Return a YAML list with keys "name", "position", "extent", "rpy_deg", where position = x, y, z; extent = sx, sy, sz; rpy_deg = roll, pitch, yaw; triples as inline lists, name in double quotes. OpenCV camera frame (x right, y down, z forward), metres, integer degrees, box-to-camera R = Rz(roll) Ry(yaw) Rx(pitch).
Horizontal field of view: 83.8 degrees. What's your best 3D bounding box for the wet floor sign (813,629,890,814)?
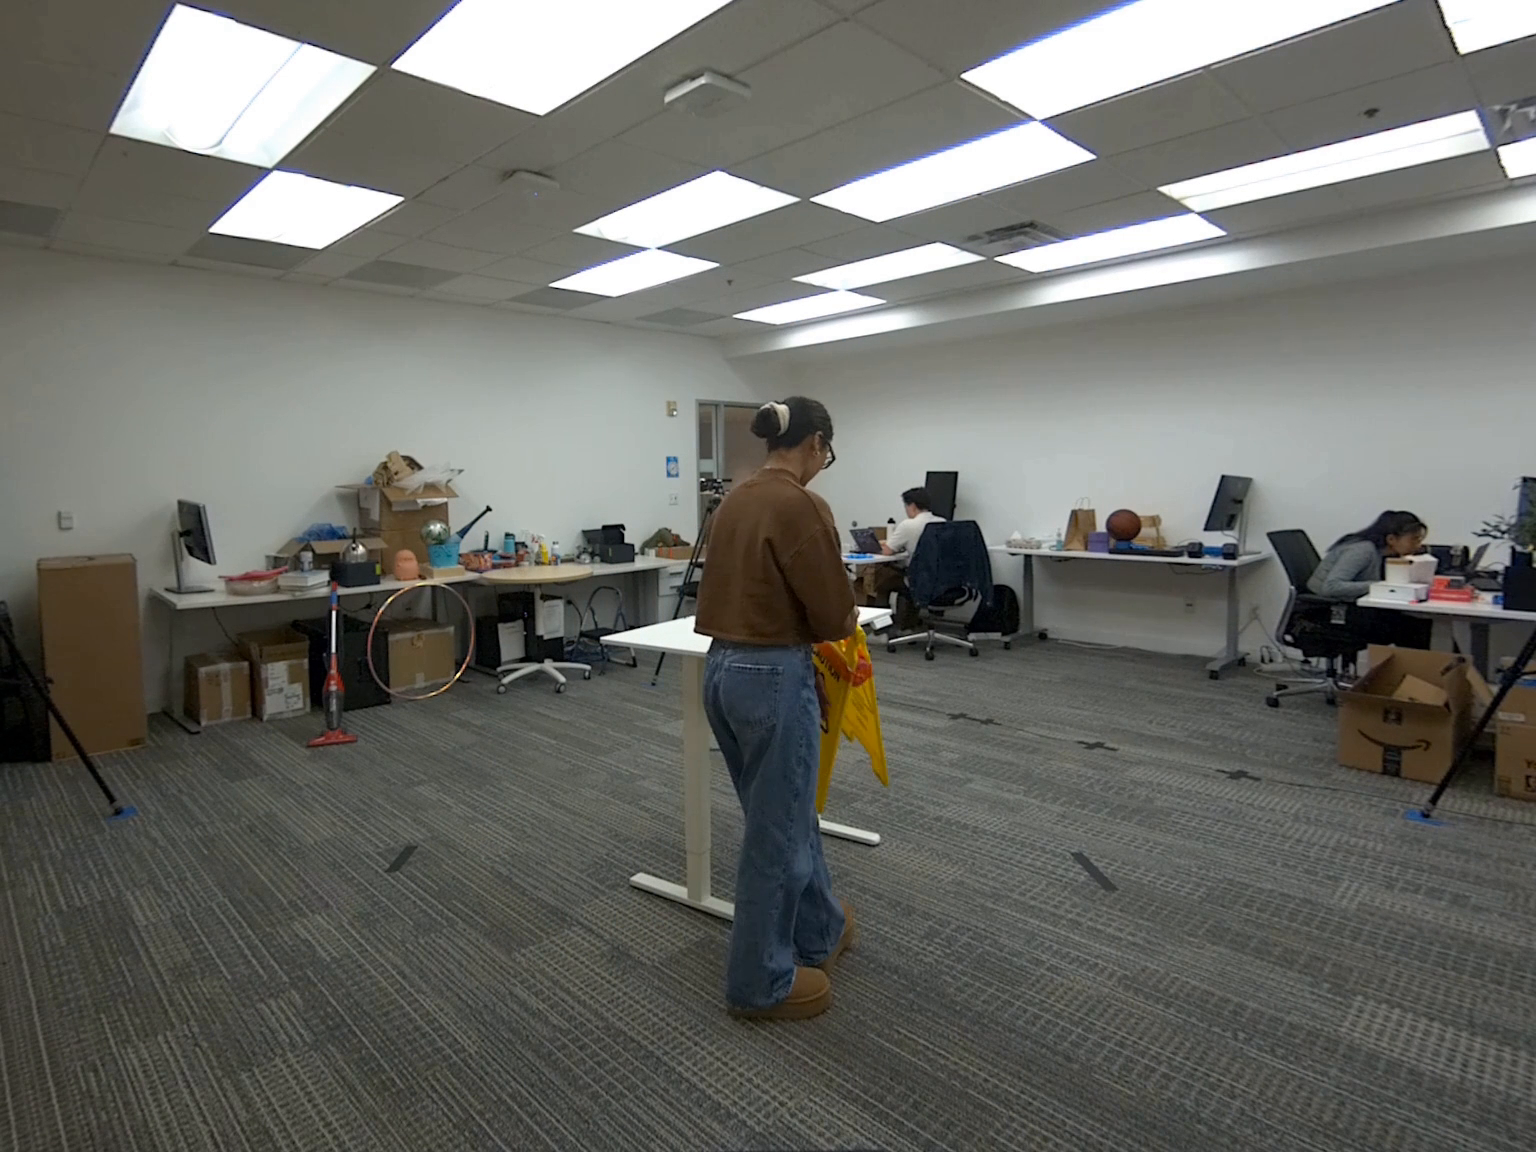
- name: "wet floor sign"
  position: [0.213, 0.352, 2.543]
  extent: [0.285, 0.630, 0.293]
  rpy_deg: [-15, 38, -23]
